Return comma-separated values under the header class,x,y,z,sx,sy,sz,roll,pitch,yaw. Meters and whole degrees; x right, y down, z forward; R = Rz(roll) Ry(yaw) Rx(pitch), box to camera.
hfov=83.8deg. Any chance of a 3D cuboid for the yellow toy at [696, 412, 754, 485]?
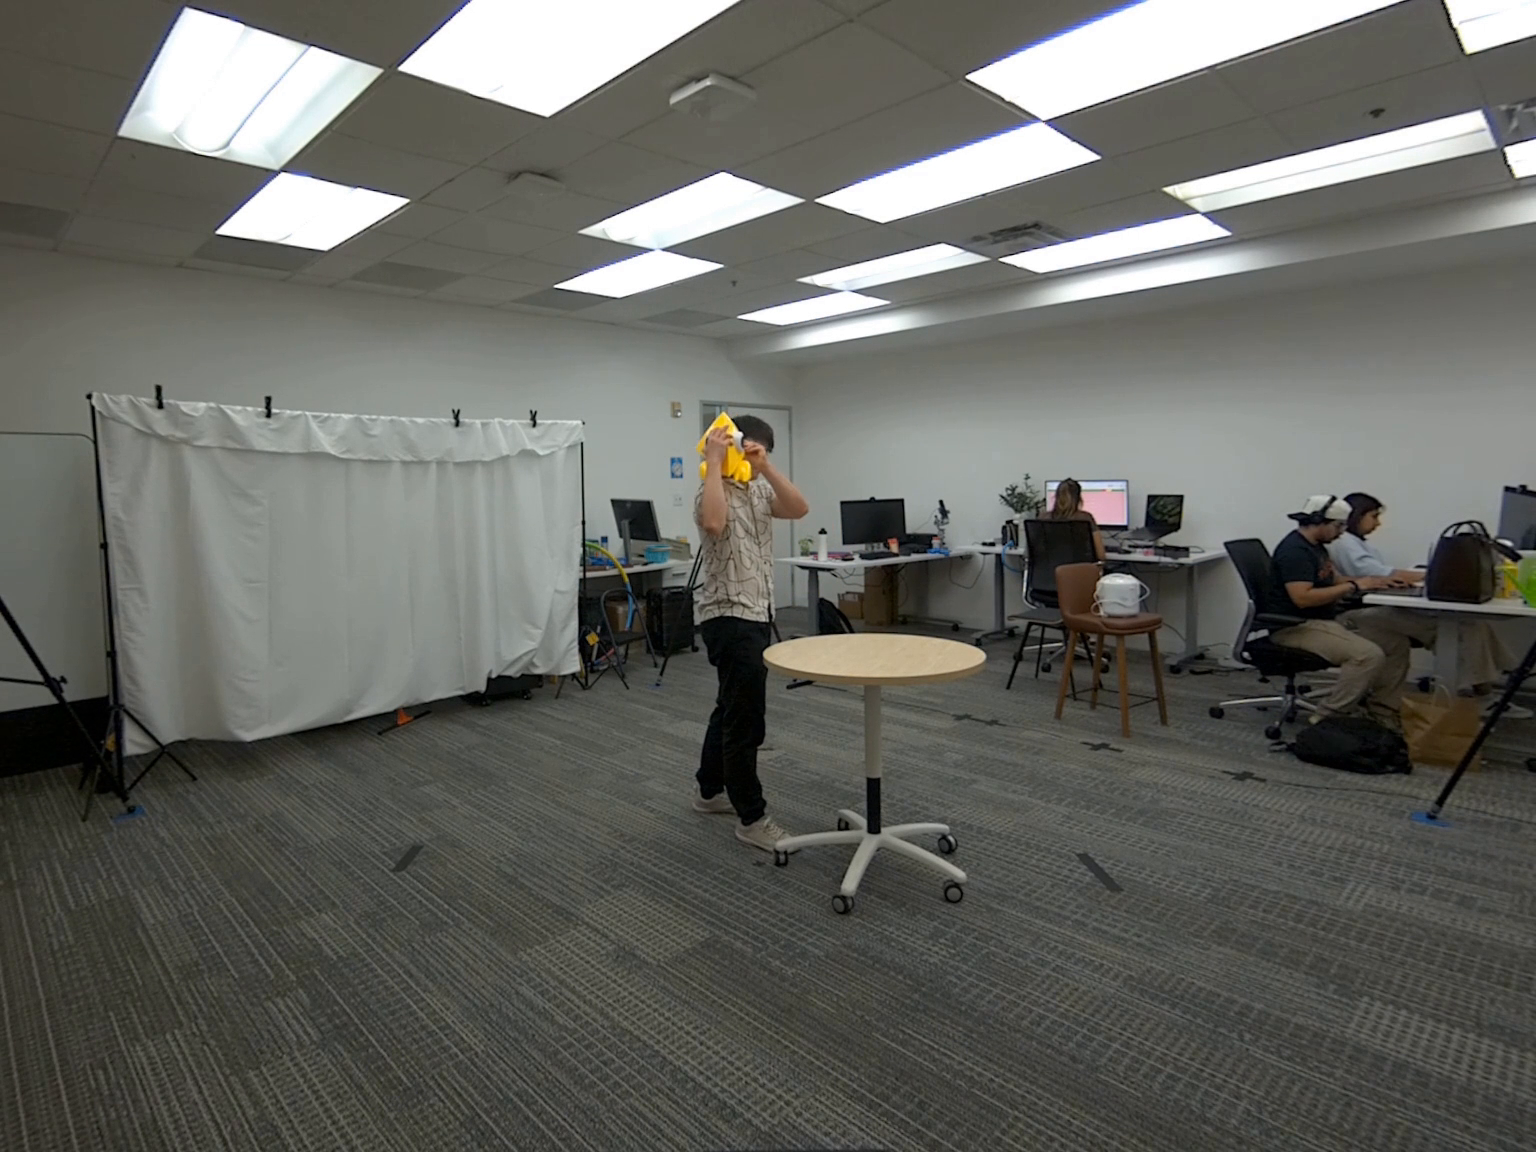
class,x,y,z,sx,sy,sz,roll,pitch,yaw
yellow toy,-0.156,-0.492,3.229,0.203,0.226,0.198,-2,23,-11
